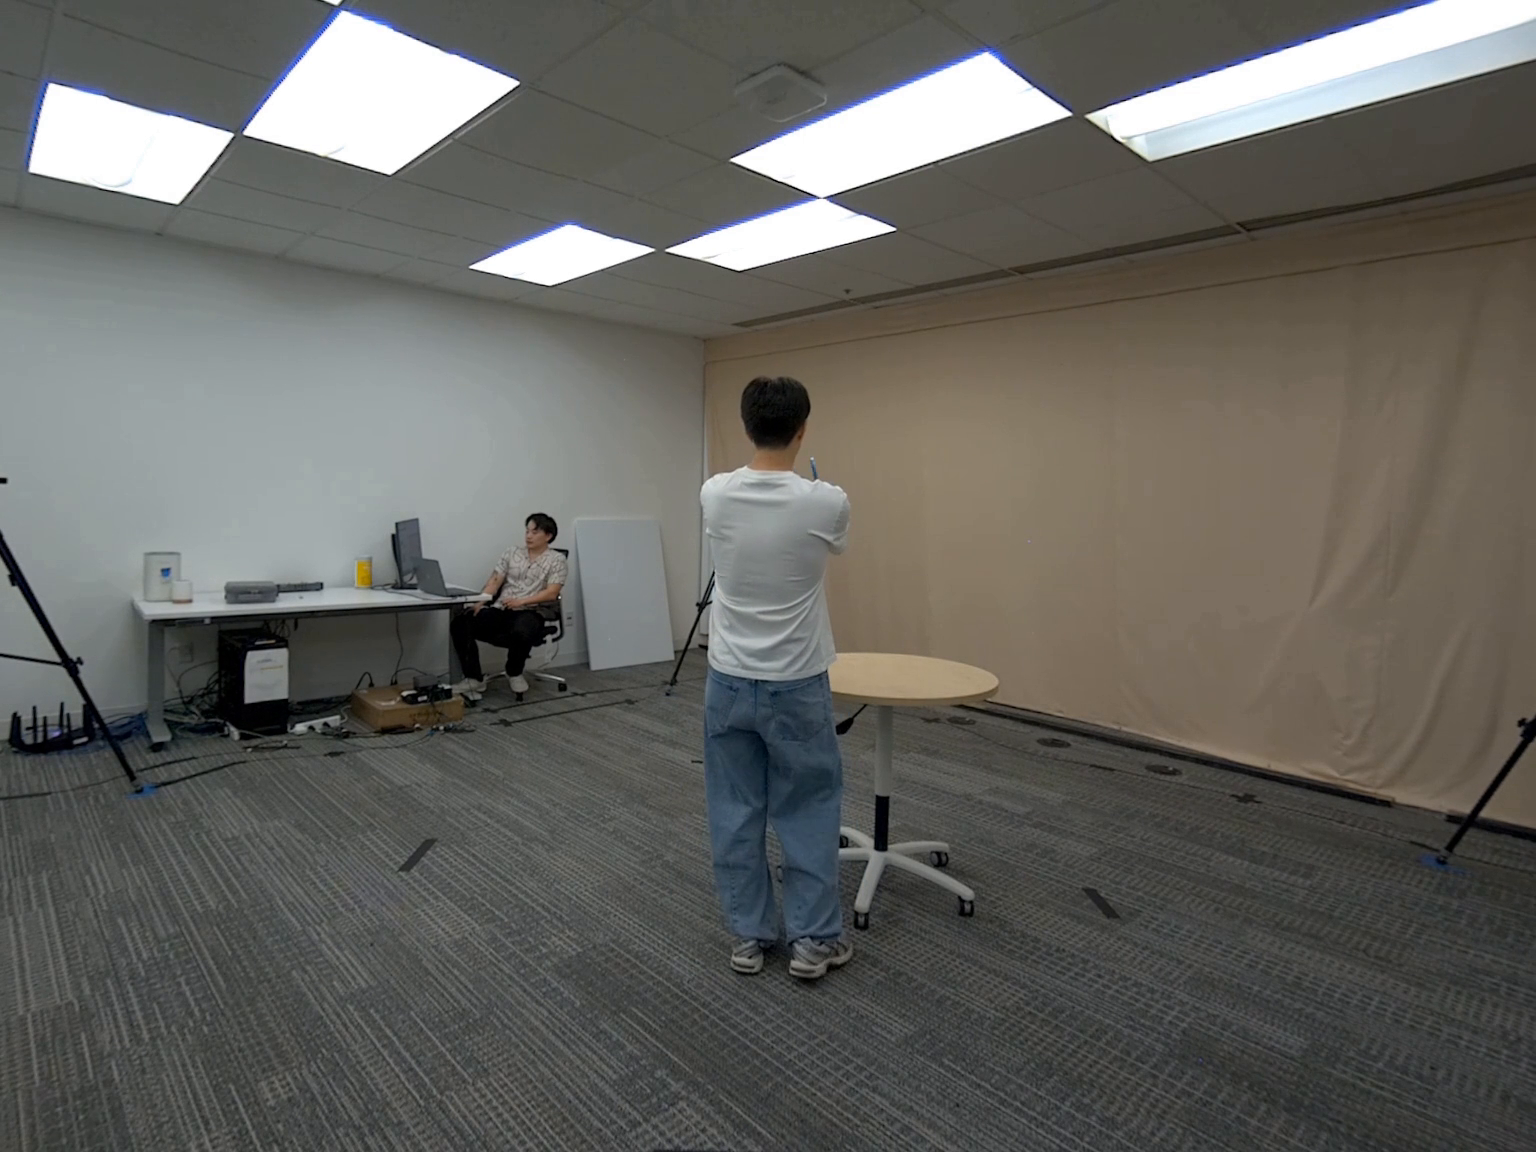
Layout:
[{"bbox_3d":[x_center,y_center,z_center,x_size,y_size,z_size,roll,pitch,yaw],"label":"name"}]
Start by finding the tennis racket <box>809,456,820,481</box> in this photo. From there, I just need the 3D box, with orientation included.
[{"bbox_3d":[0.188,-0.327,3.164,0.032,0.210,0.439,-7,20,1],"label":"tennis racket"}]
